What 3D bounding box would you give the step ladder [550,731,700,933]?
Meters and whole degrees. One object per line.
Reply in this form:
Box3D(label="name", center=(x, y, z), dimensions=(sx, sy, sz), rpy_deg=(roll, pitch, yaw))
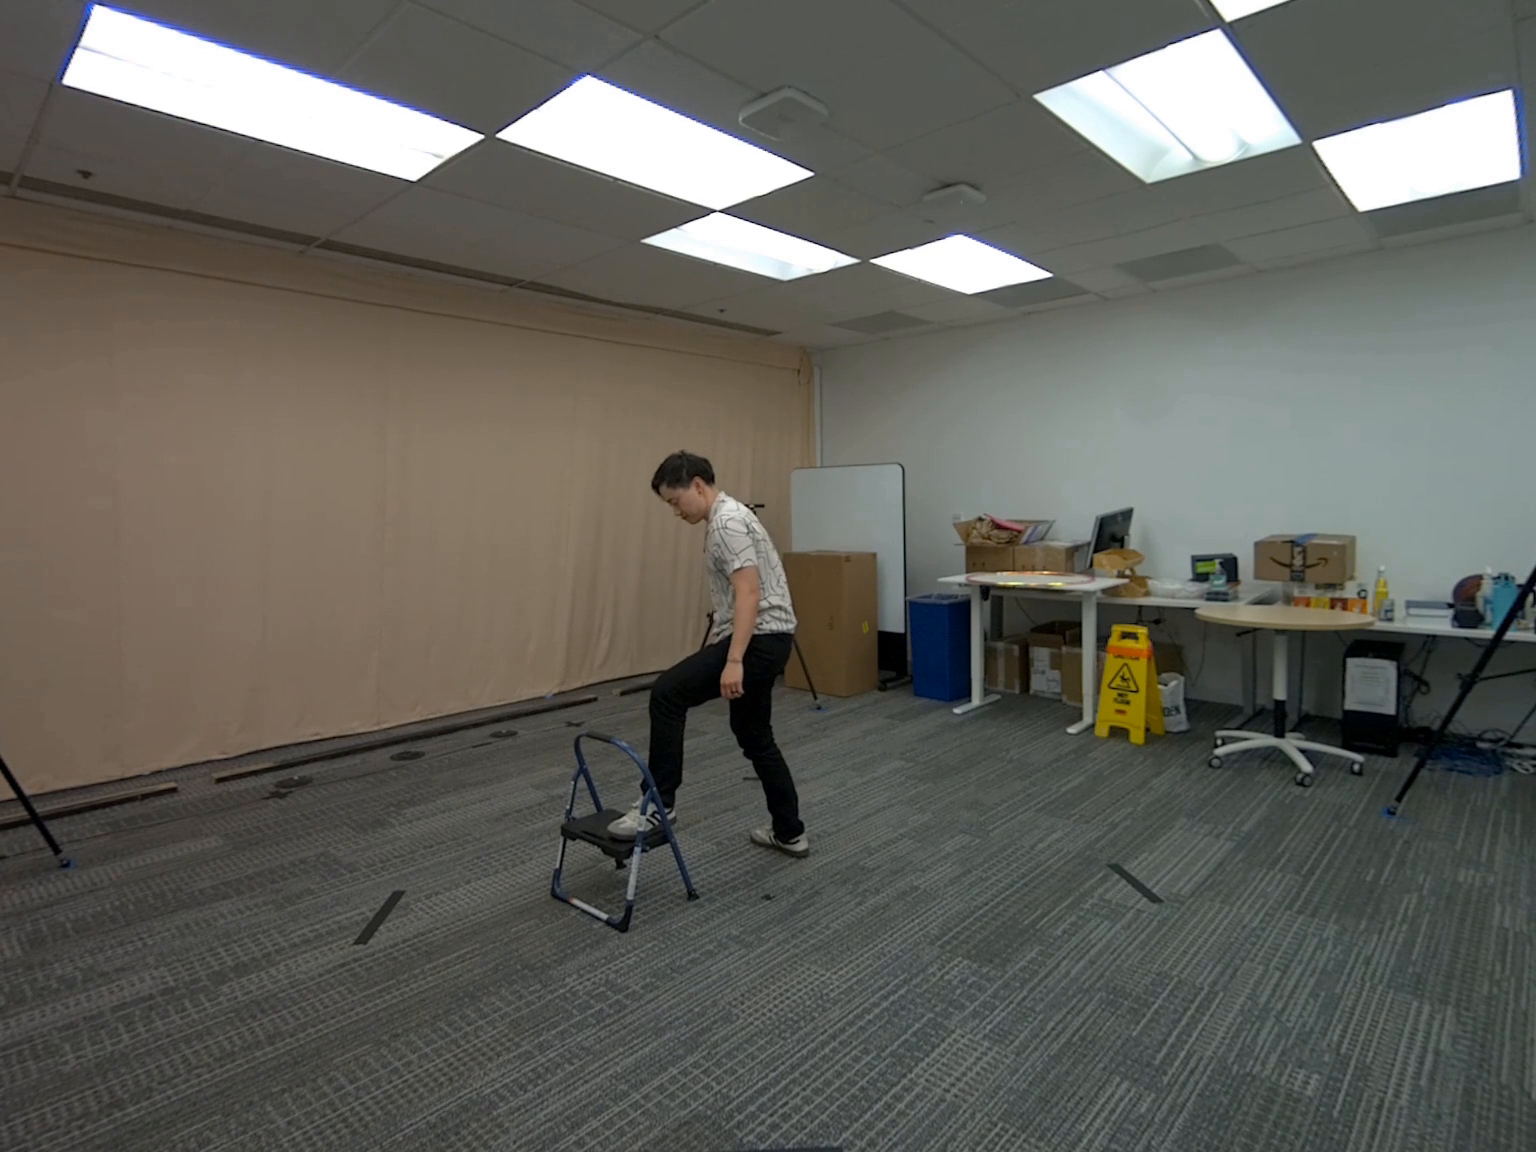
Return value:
Box3D(label="step ladder", center=(-0.525, 0.847, 2.999), dimensions=(0.445, 0.605, 0.339), rpy_deg=(1, 5, 41))
